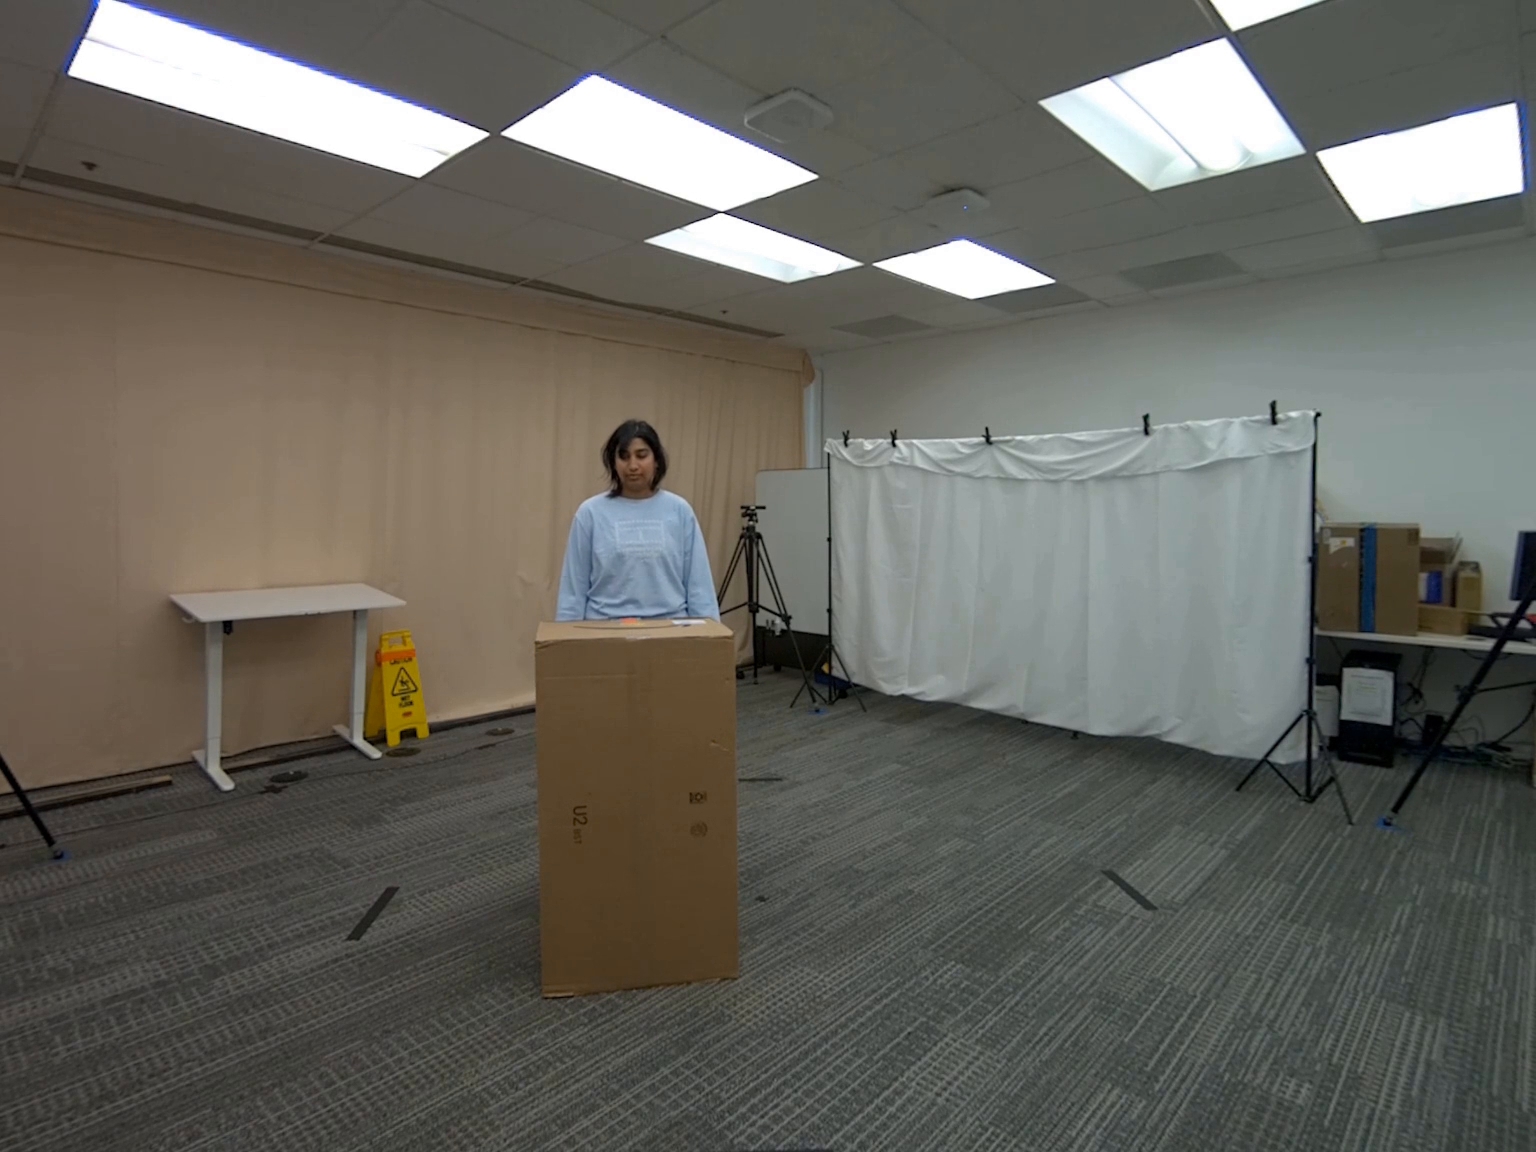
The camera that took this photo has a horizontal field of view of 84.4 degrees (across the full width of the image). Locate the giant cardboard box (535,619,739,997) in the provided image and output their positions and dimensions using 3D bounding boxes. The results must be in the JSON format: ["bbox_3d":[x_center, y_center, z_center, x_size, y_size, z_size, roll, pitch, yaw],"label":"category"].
[{"bbox_3d":[-0.410,0.668,2.615,0.578,1.025,0.452,-1,2,-10],"label":"giant cardboard box"}]
